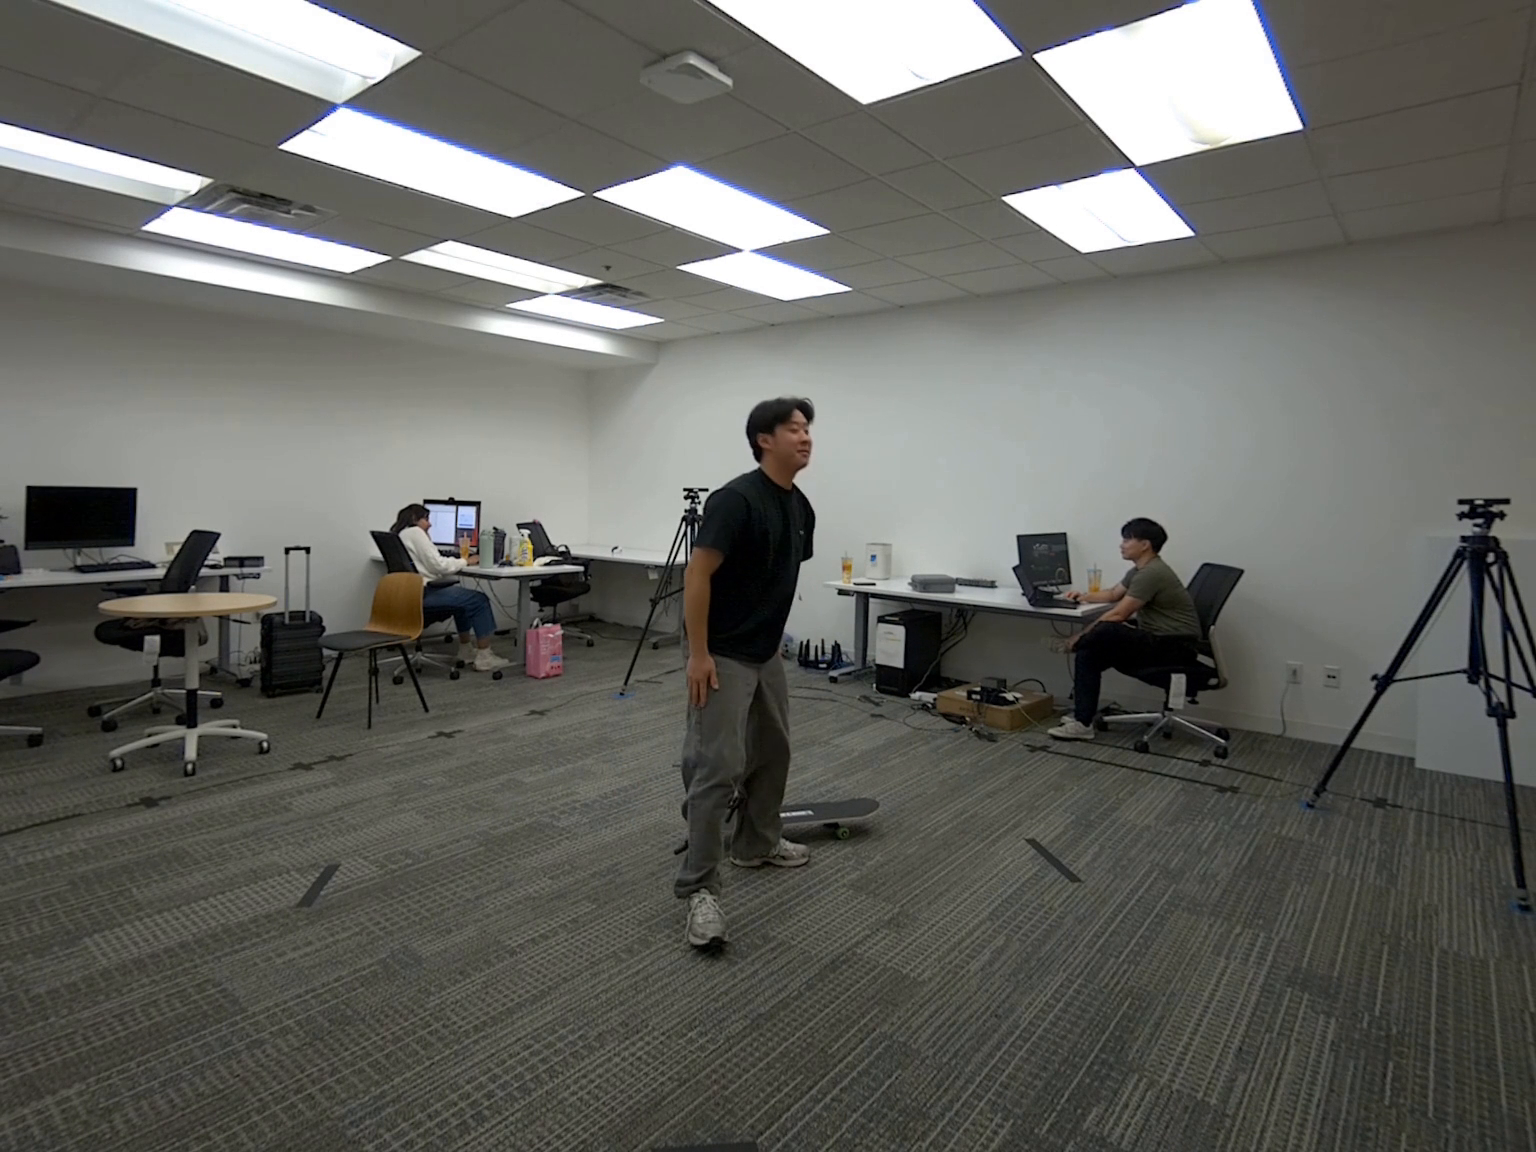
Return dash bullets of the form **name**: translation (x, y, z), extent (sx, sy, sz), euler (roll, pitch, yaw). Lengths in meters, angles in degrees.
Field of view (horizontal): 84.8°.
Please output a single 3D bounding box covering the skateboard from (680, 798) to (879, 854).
- **skateboard**: translation (0.081, 0.992, 3.431), extent (0.773, 0.110, 0.197), euler (-1, 6, -16)
